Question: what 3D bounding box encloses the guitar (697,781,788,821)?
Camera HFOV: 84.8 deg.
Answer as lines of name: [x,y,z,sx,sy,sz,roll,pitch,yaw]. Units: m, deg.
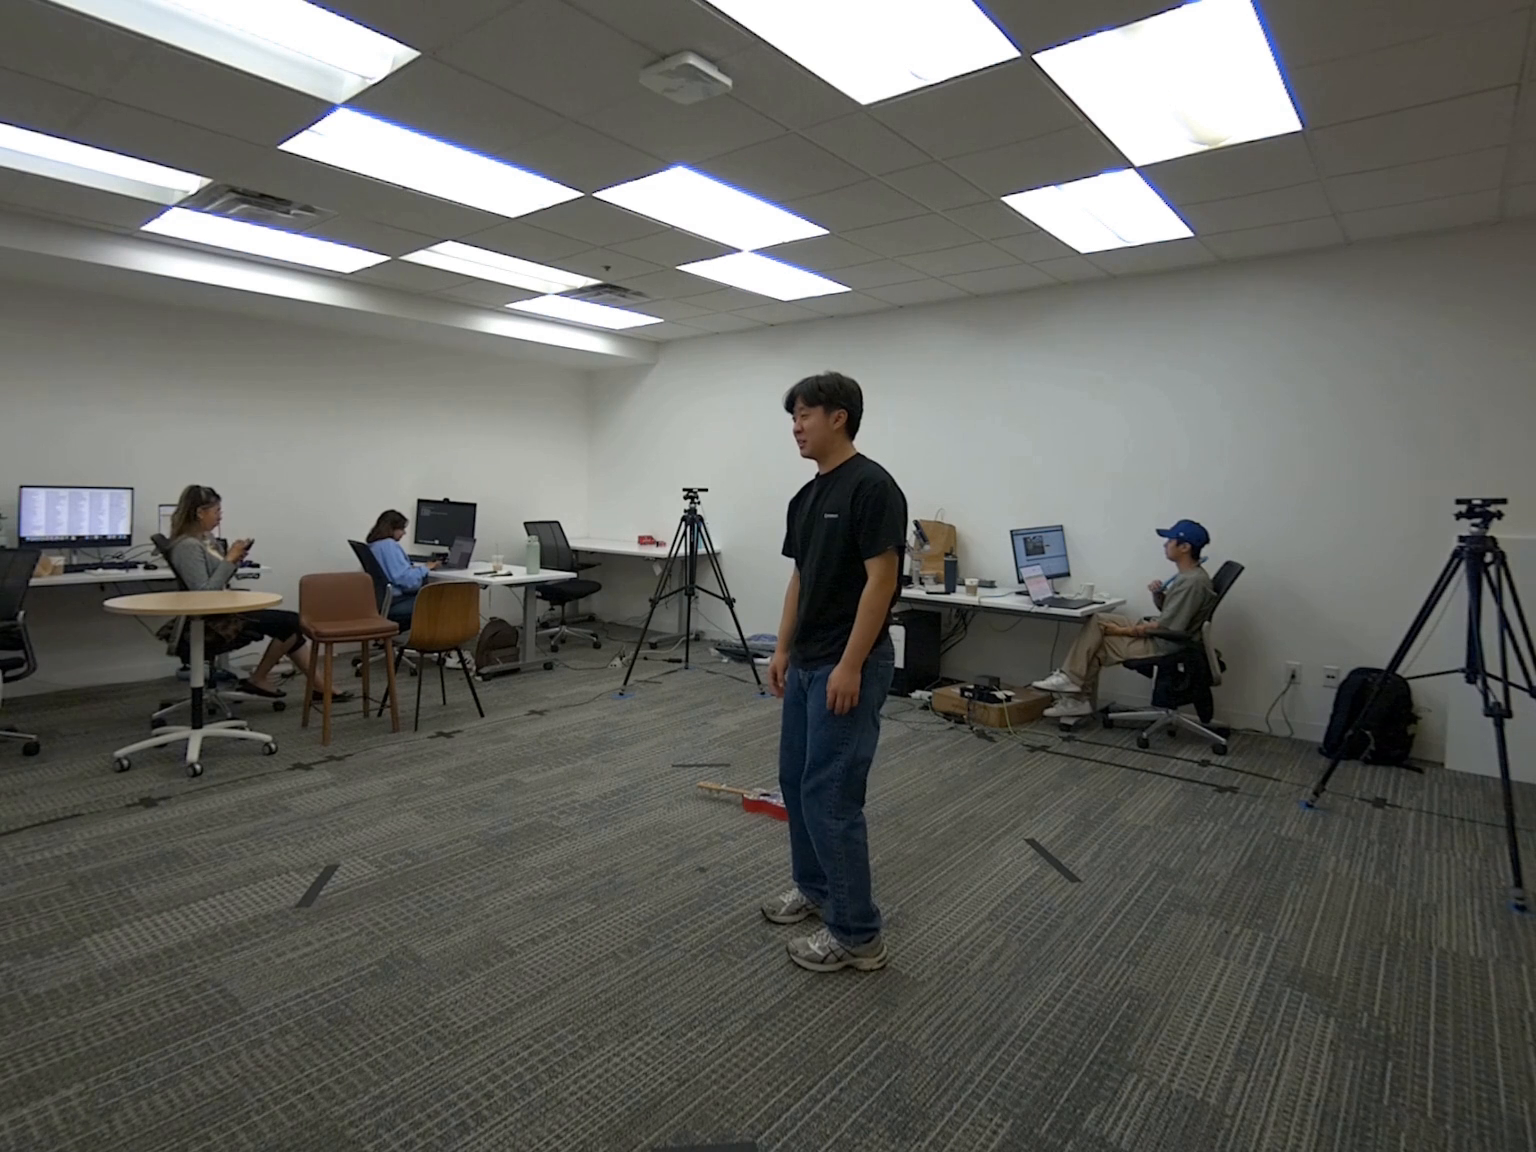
guitar: [-0.081,0.973,3.778,0.513,0.070,0.188,5,6,31]
